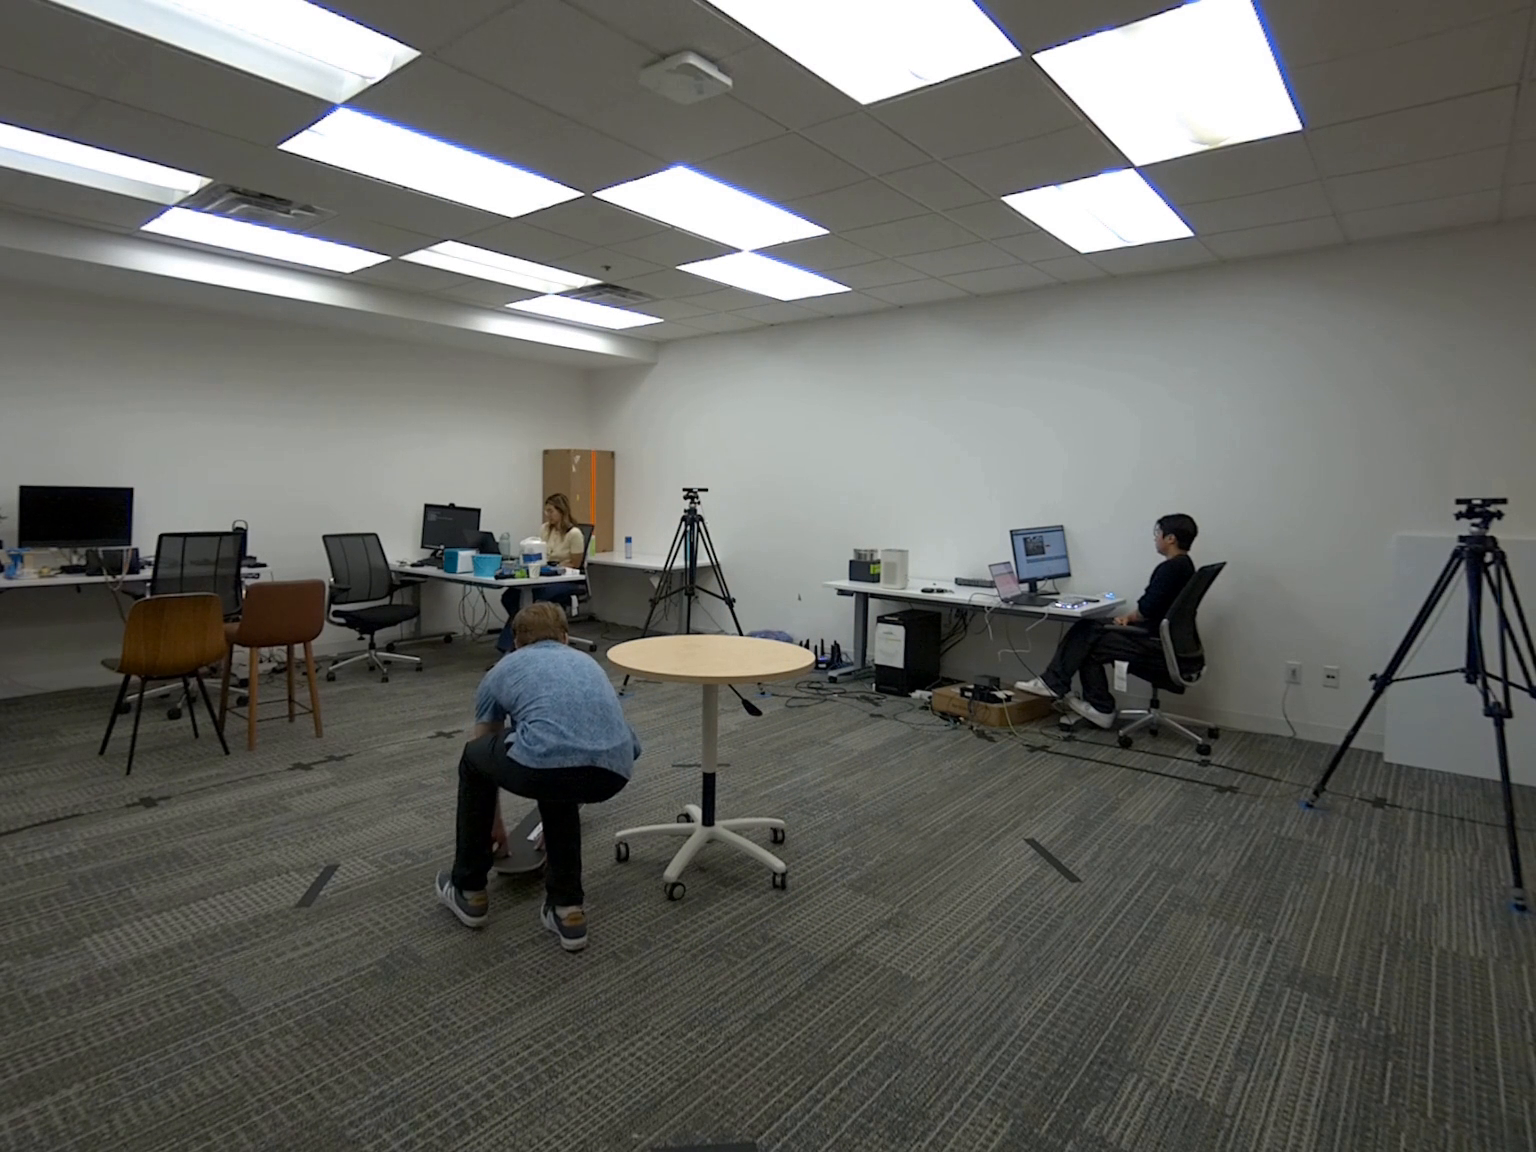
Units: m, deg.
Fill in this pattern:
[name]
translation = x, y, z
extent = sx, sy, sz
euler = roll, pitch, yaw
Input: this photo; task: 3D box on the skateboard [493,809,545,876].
[skateboard]
translation = -0.879, 0.994, 3.234
extent = 0.194, 0.110, 0.784
euler = 0, 5, 3
